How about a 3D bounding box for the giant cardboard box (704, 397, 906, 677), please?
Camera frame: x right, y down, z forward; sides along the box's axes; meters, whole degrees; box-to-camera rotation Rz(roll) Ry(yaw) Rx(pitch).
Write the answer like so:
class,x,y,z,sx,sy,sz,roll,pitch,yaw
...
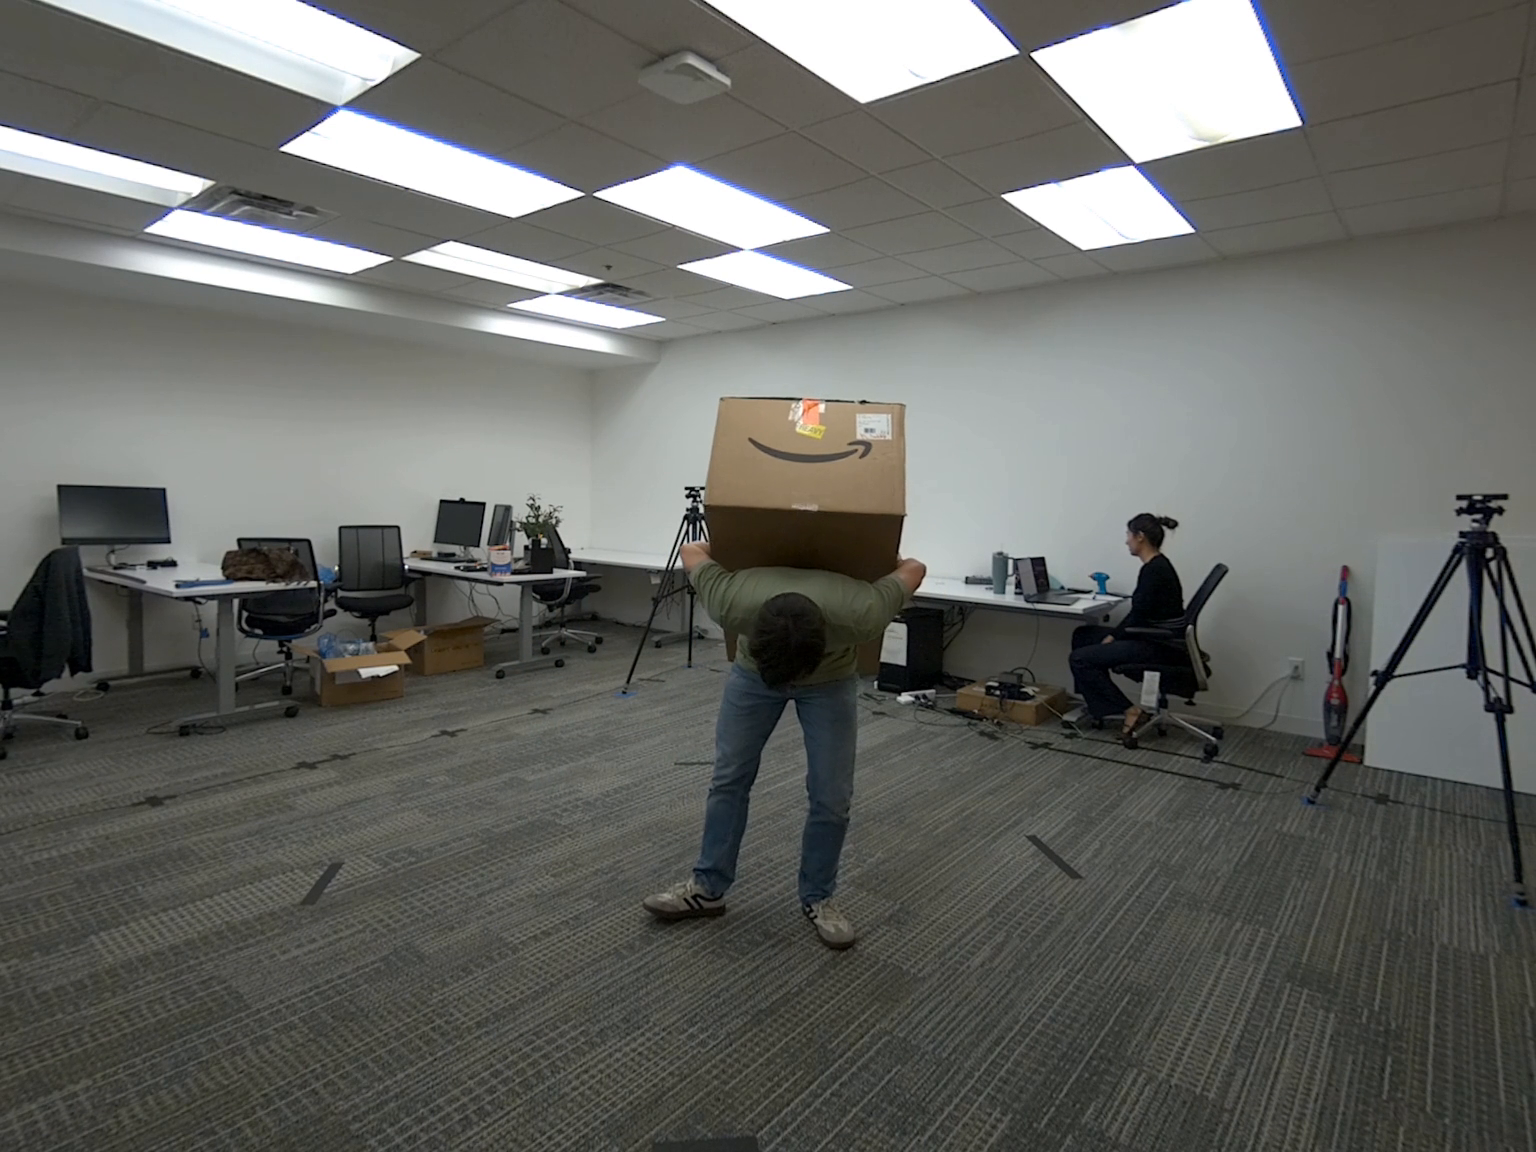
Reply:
class,x,y,z,sx,sy,sz,roll,pitch,yaw
giant cardboard box,0.119,-0.109,2.921,0.582,0.435,0.996,4,-32,6
